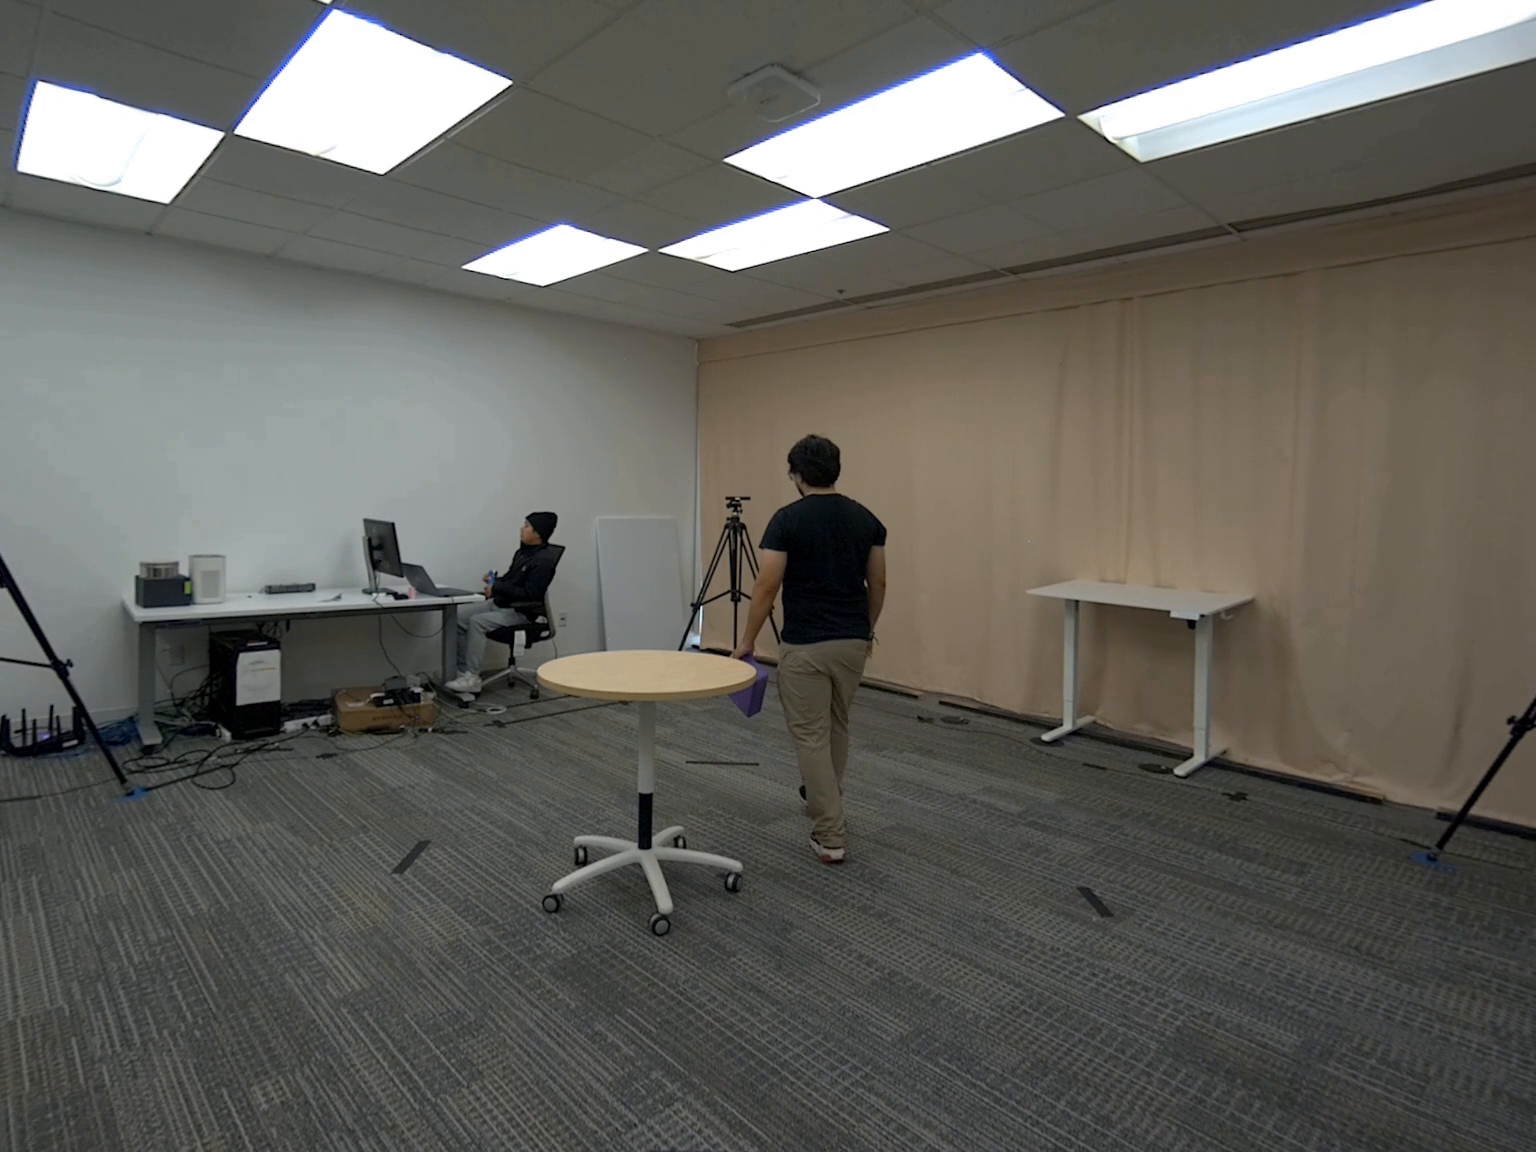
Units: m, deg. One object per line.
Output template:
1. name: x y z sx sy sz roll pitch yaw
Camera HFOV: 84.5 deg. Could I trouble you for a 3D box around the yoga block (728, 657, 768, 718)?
1. yoga block: -0.088 0.442 3.440 0.075 0.225 0.153 -20 47 -34
